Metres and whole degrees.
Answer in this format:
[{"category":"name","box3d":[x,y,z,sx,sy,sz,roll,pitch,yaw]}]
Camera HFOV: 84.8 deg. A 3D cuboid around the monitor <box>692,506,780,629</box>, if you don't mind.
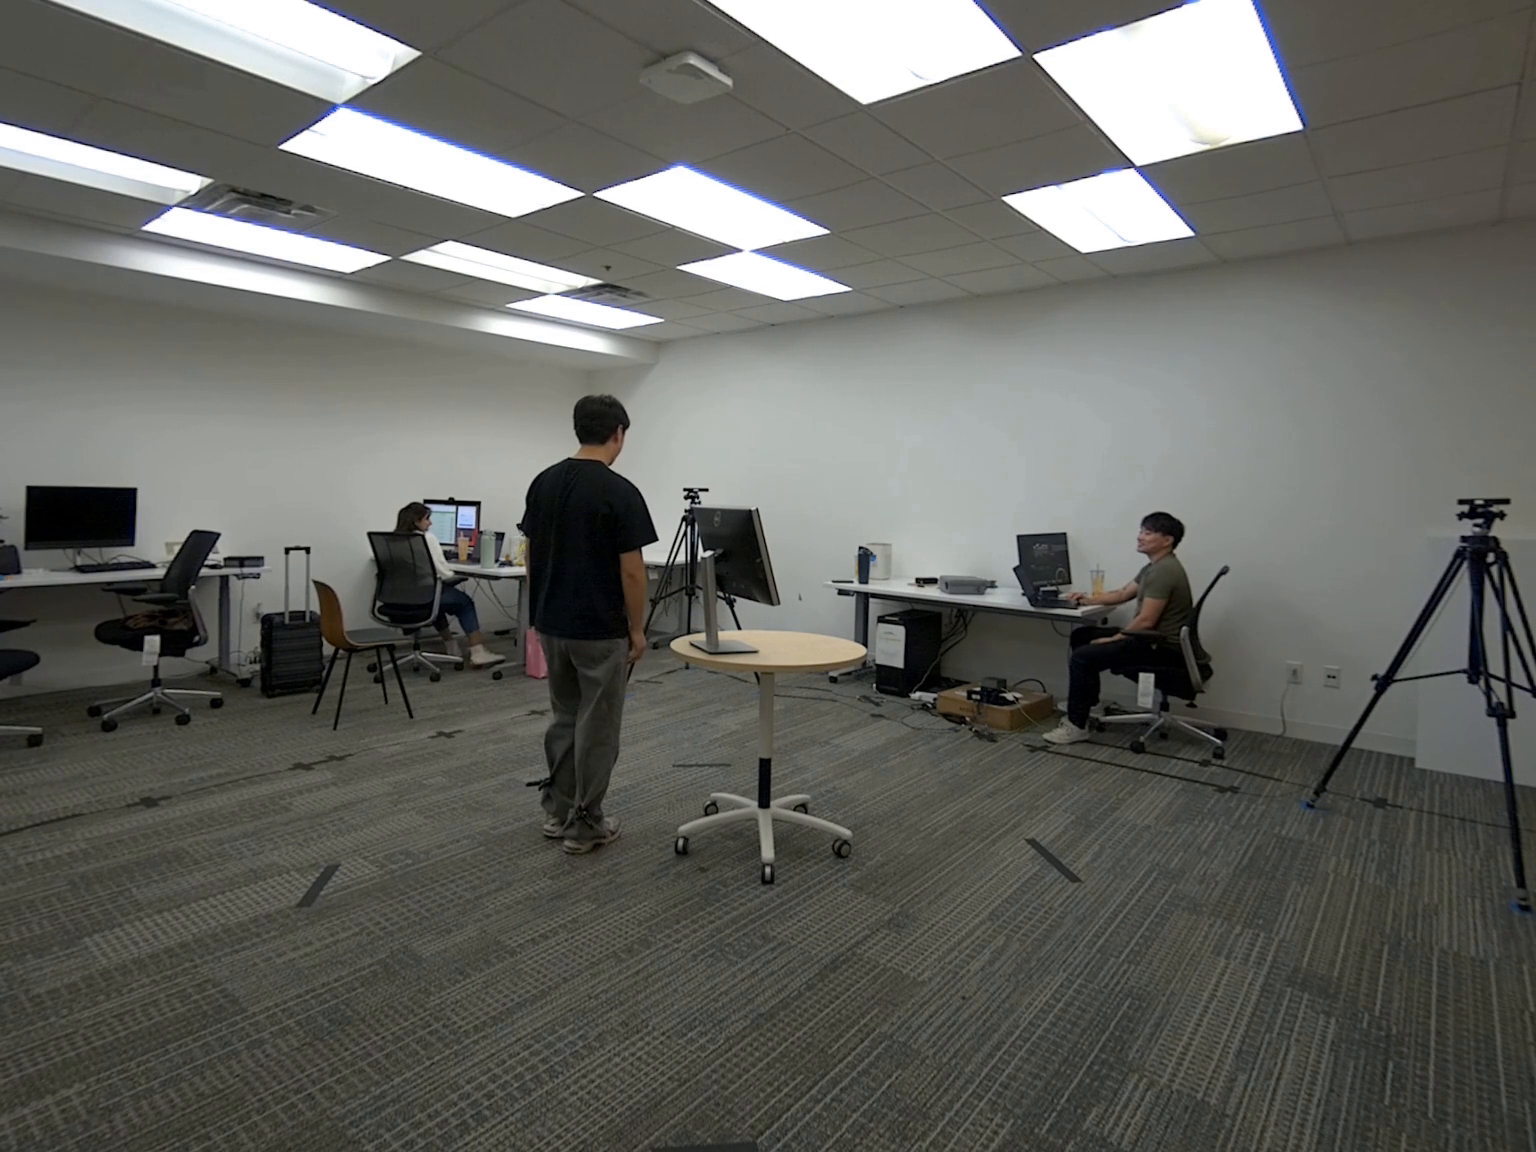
[{"category":"monitor","box3d":[-0.173,0.015,3.243,0.217,0.564,0.577,0,4,-25]}]
